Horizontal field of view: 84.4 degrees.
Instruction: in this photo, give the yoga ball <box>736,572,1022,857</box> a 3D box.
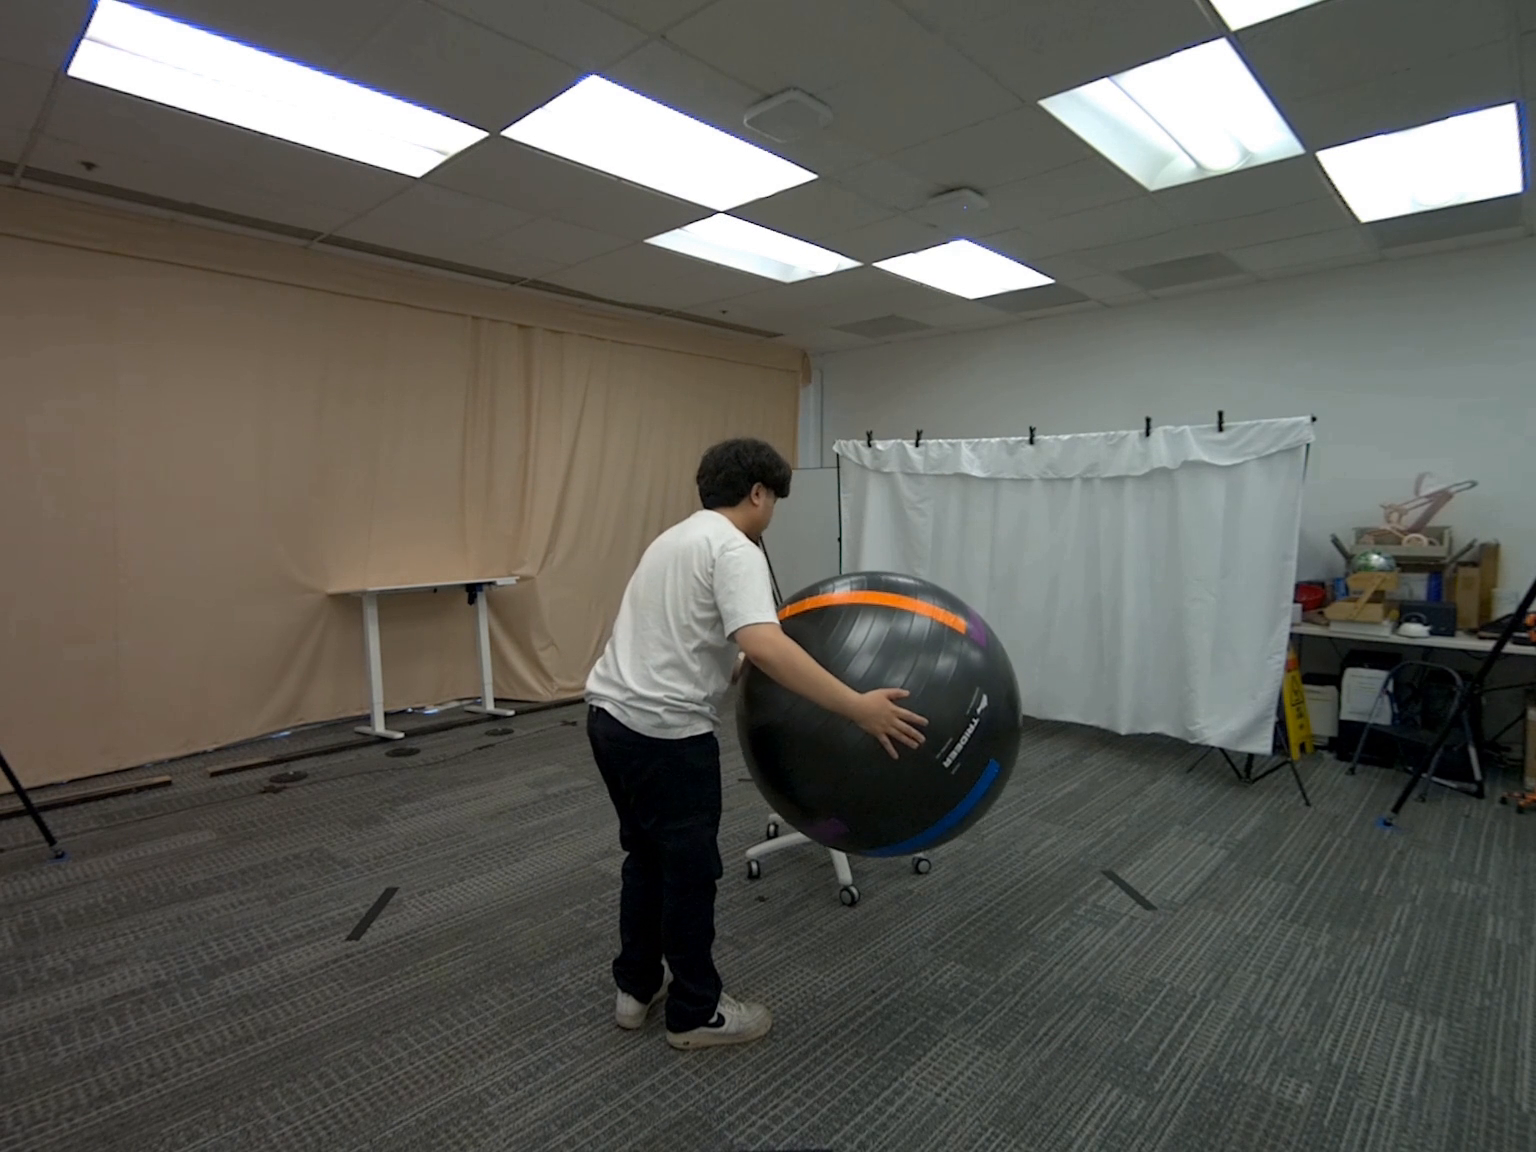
[{"bbox_3d":[0.299,0.372,2.285,0.757,0.756,0.760,0,4,-2],"label":"yoga ball"}]
